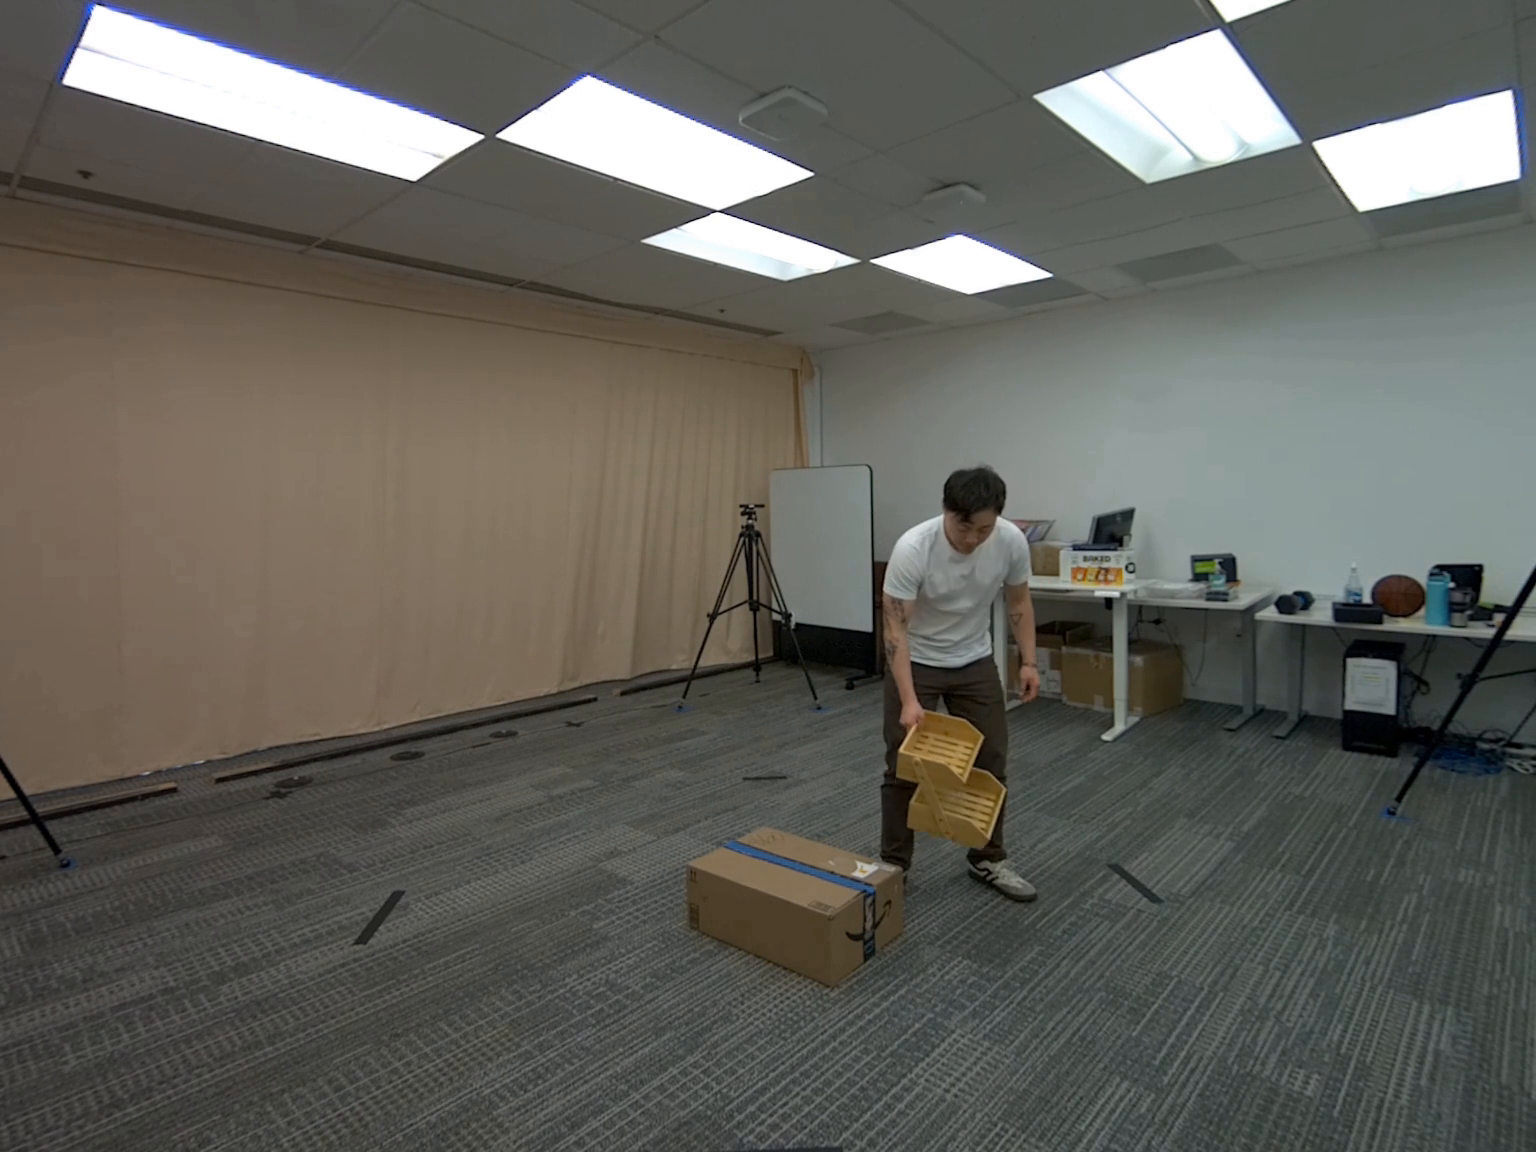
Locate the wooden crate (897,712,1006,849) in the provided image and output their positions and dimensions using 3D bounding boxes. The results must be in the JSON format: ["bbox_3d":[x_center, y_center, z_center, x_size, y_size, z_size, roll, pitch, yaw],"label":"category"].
[{"bbox_3d":[0.607,0.645,2.709,0.310,0.270,0.319,9,20,25],"label":"wooden crate"}]
